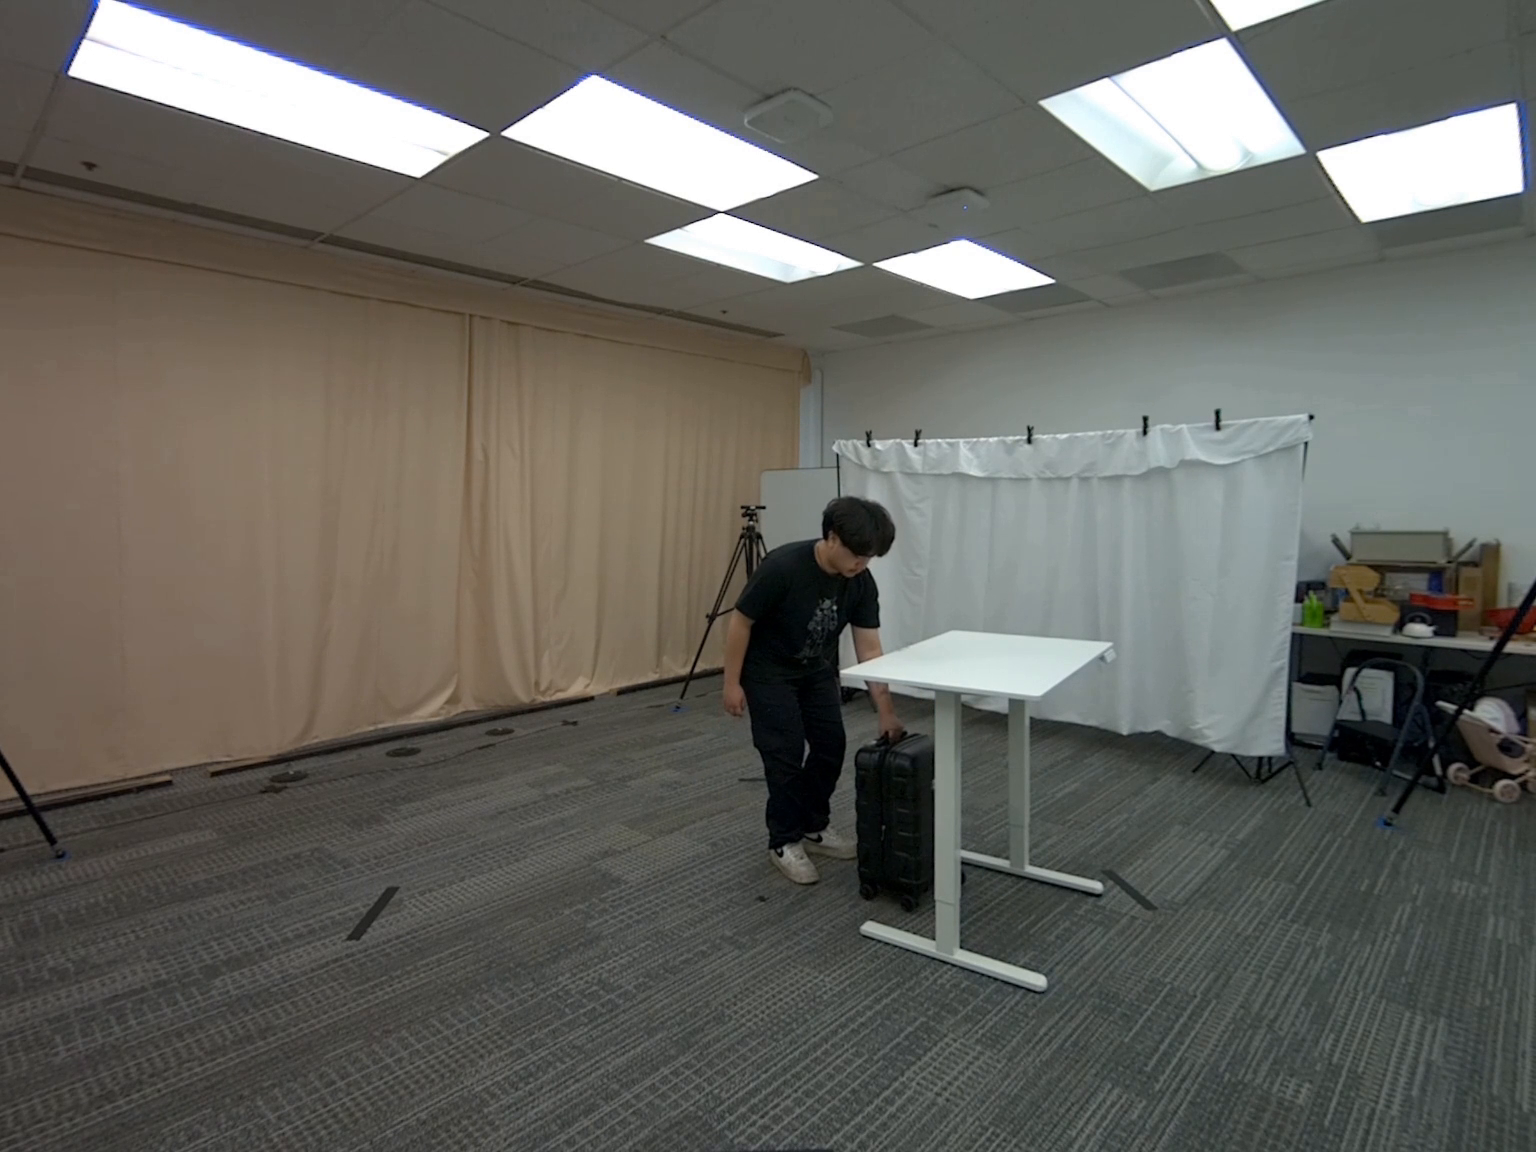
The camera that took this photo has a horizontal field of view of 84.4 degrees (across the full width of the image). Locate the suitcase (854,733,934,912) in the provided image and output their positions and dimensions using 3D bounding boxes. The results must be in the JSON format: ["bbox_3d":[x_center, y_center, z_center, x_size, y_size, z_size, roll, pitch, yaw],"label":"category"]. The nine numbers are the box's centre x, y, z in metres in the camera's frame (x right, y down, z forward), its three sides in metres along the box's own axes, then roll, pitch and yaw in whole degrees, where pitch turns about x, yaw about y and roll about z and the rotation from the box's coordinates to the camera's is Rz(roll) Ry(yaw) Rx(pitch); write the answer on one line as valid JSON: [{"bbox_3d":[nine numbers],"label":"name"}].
[{"bbox_3d":[0.503,0.856,3.038,0.256,0.549,0.364,-2,1,36],"label":"suitcase"}]
